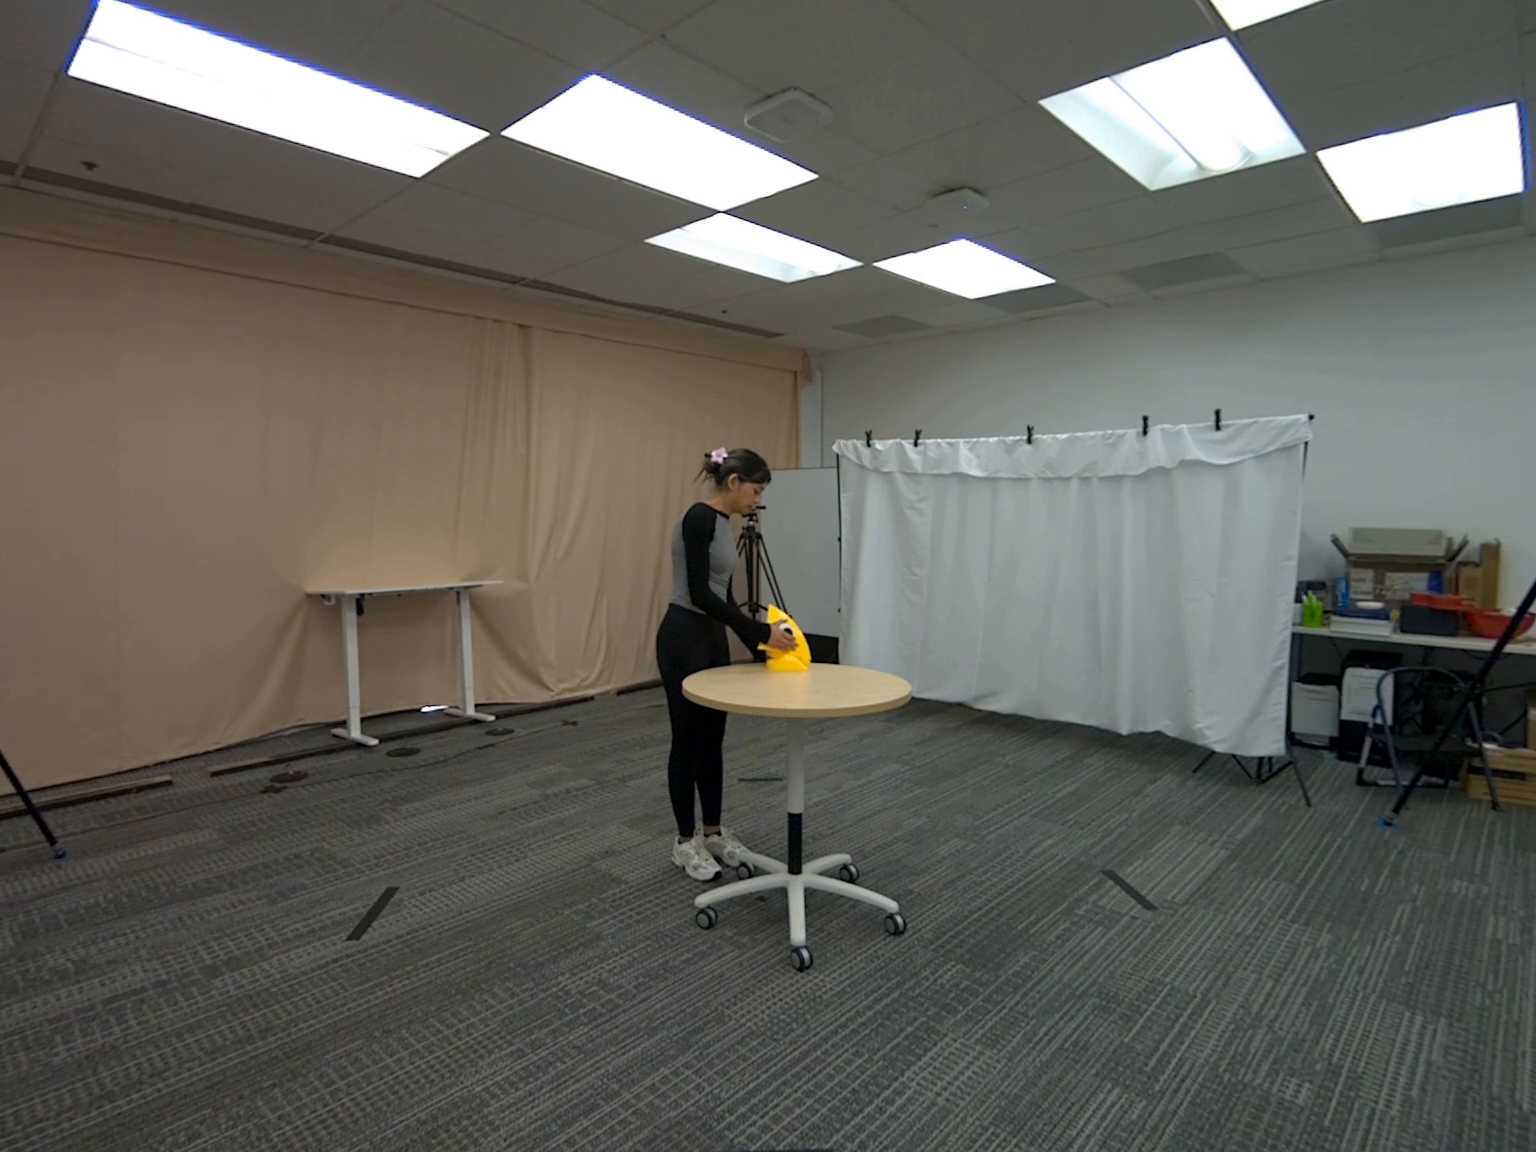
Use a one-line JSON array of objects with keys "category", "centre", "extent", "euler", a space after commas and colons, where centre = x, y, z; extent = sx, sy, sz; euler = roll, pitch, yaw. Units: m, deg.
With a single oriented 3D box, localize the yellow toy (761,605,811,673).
[{"category": "yellow toy", "centre": [0.069, 0.223, 3.147], "extent": [0.195, 0.230, 0.203], "euler": [1, 3, 9]}]
